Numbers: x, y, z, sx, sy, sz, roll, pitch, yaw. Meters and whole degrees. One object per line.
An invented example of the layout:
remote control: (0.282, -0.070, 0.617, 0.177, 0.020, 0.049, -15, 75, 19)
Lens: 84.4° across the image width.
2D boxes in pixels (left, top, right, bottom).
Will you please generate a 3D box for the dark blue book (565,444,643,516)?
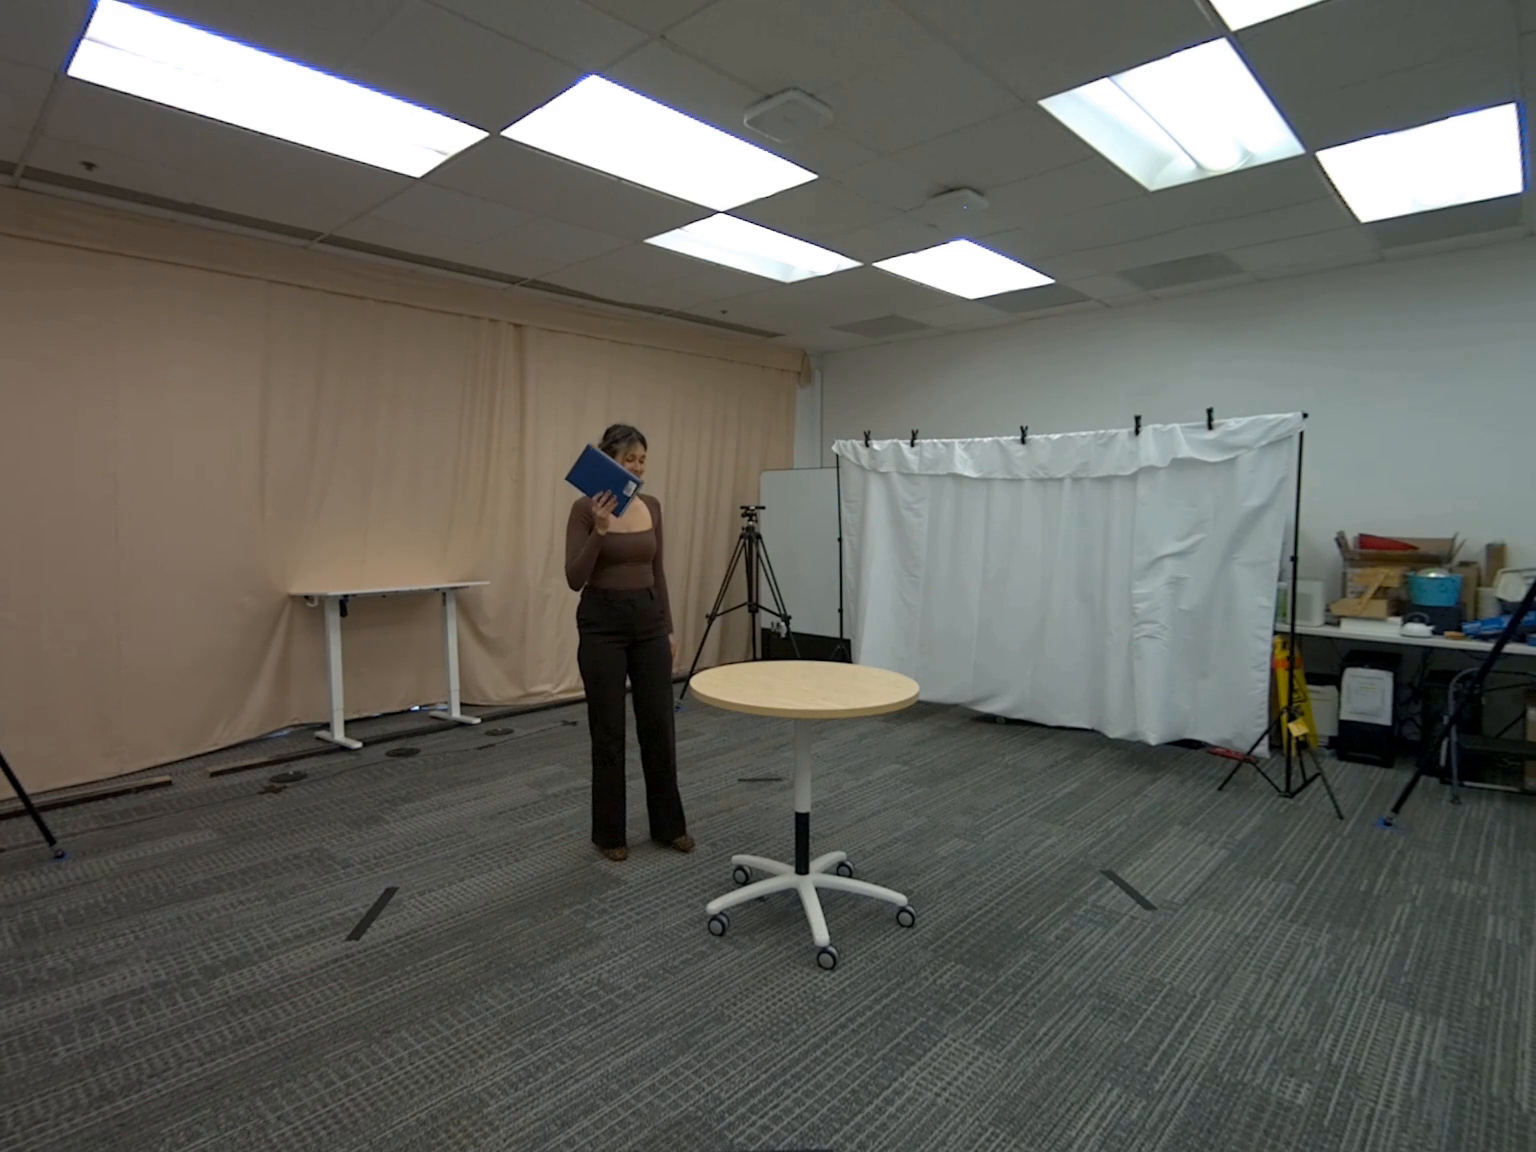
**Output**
dark blue book: (-0.599, -0.349, 3.088, 0.245, 0.163, 0.045, 37, 10, 1)
